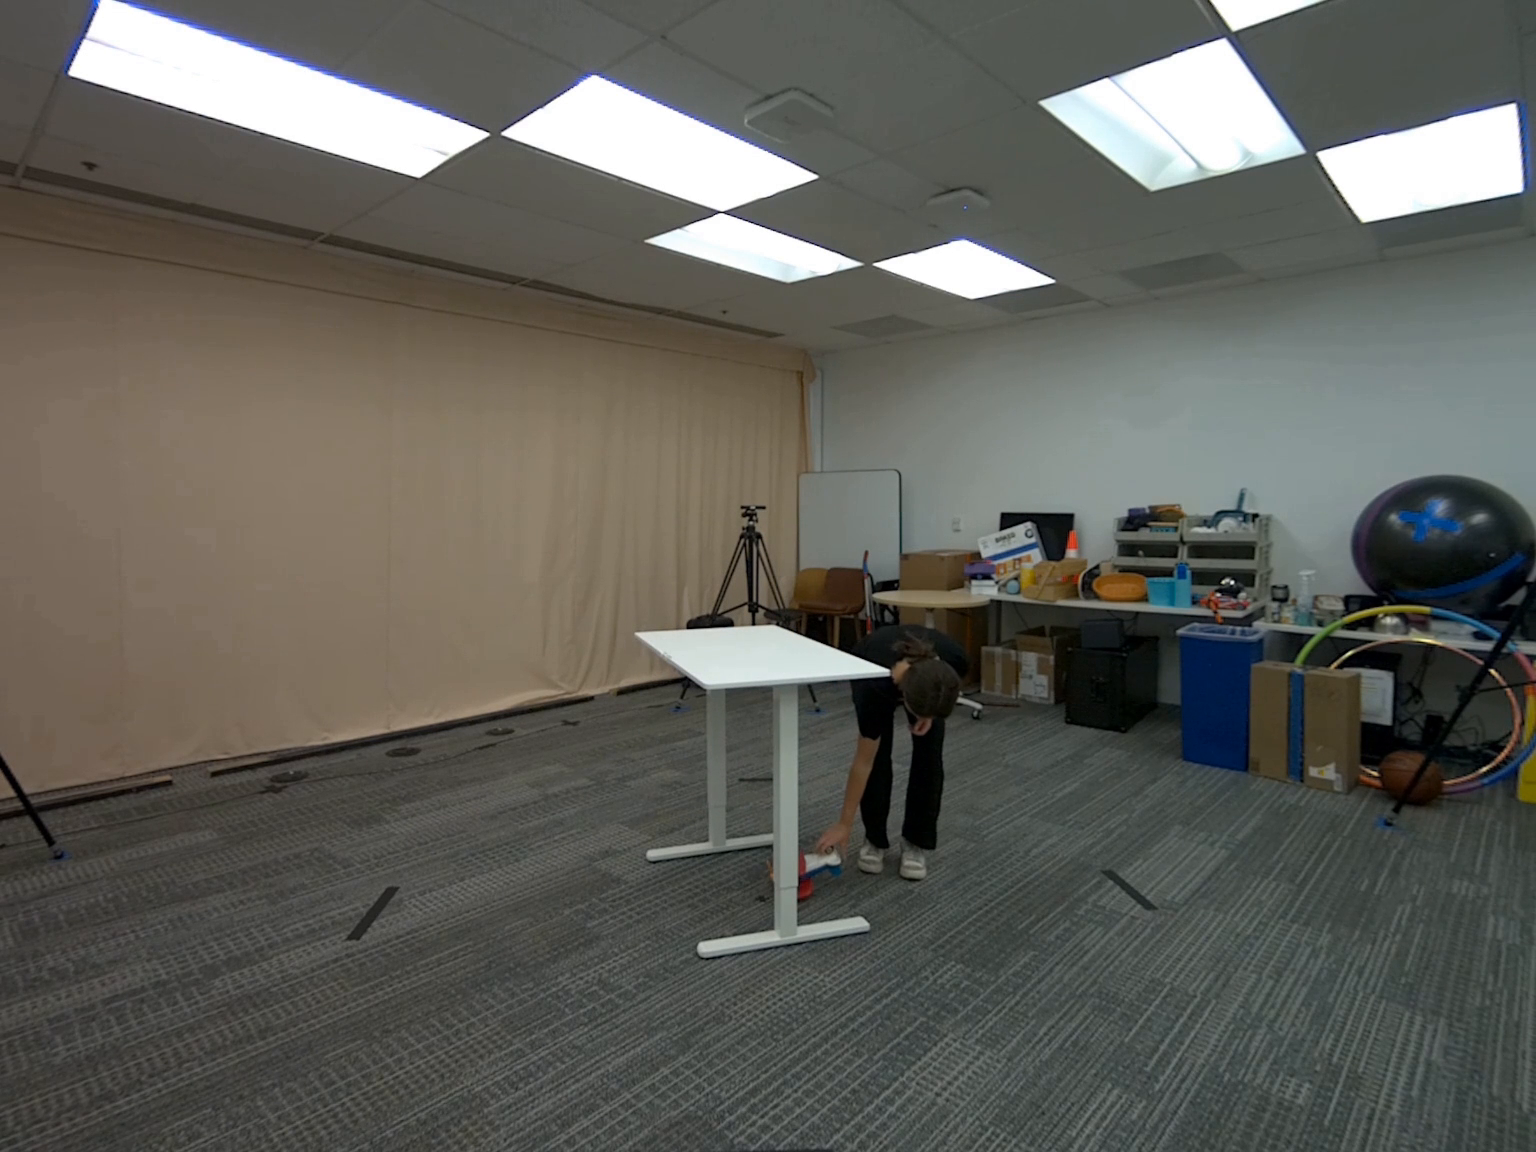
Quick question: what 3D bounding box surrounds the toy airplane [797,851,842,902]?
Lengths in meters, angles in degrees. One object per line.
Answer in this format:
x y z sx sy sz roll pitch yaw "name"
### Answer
0.133 1.056 3.056 0.266 0.156 0.246 0 7 24 "toy airplane"
